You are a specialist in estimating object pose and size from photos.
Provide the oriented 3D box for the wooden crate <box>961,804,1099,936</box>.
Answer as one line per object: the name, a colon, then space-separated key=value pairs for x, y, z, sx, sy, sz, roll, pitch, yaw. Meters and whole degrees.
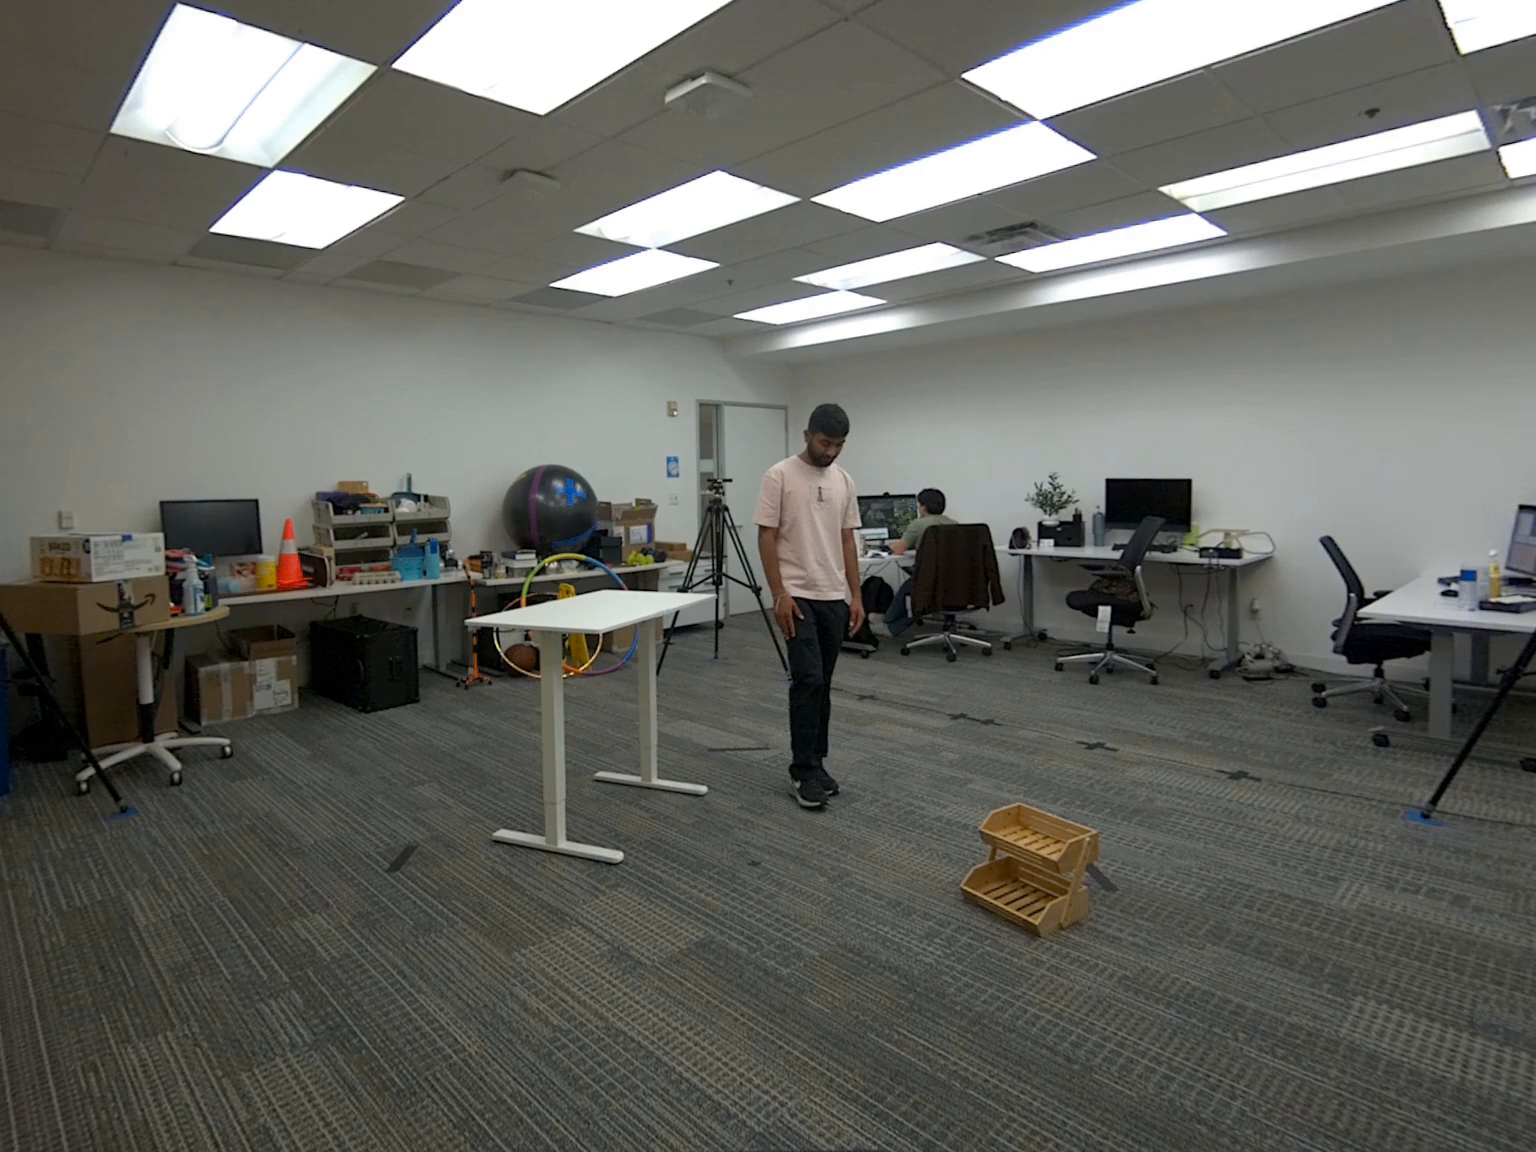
wooden crate: x=0.847 y=0.935 z=2.758 sx=0.294 sy=0.272 sz=0.334 roll=-4 pitch=6 yaw=-35
